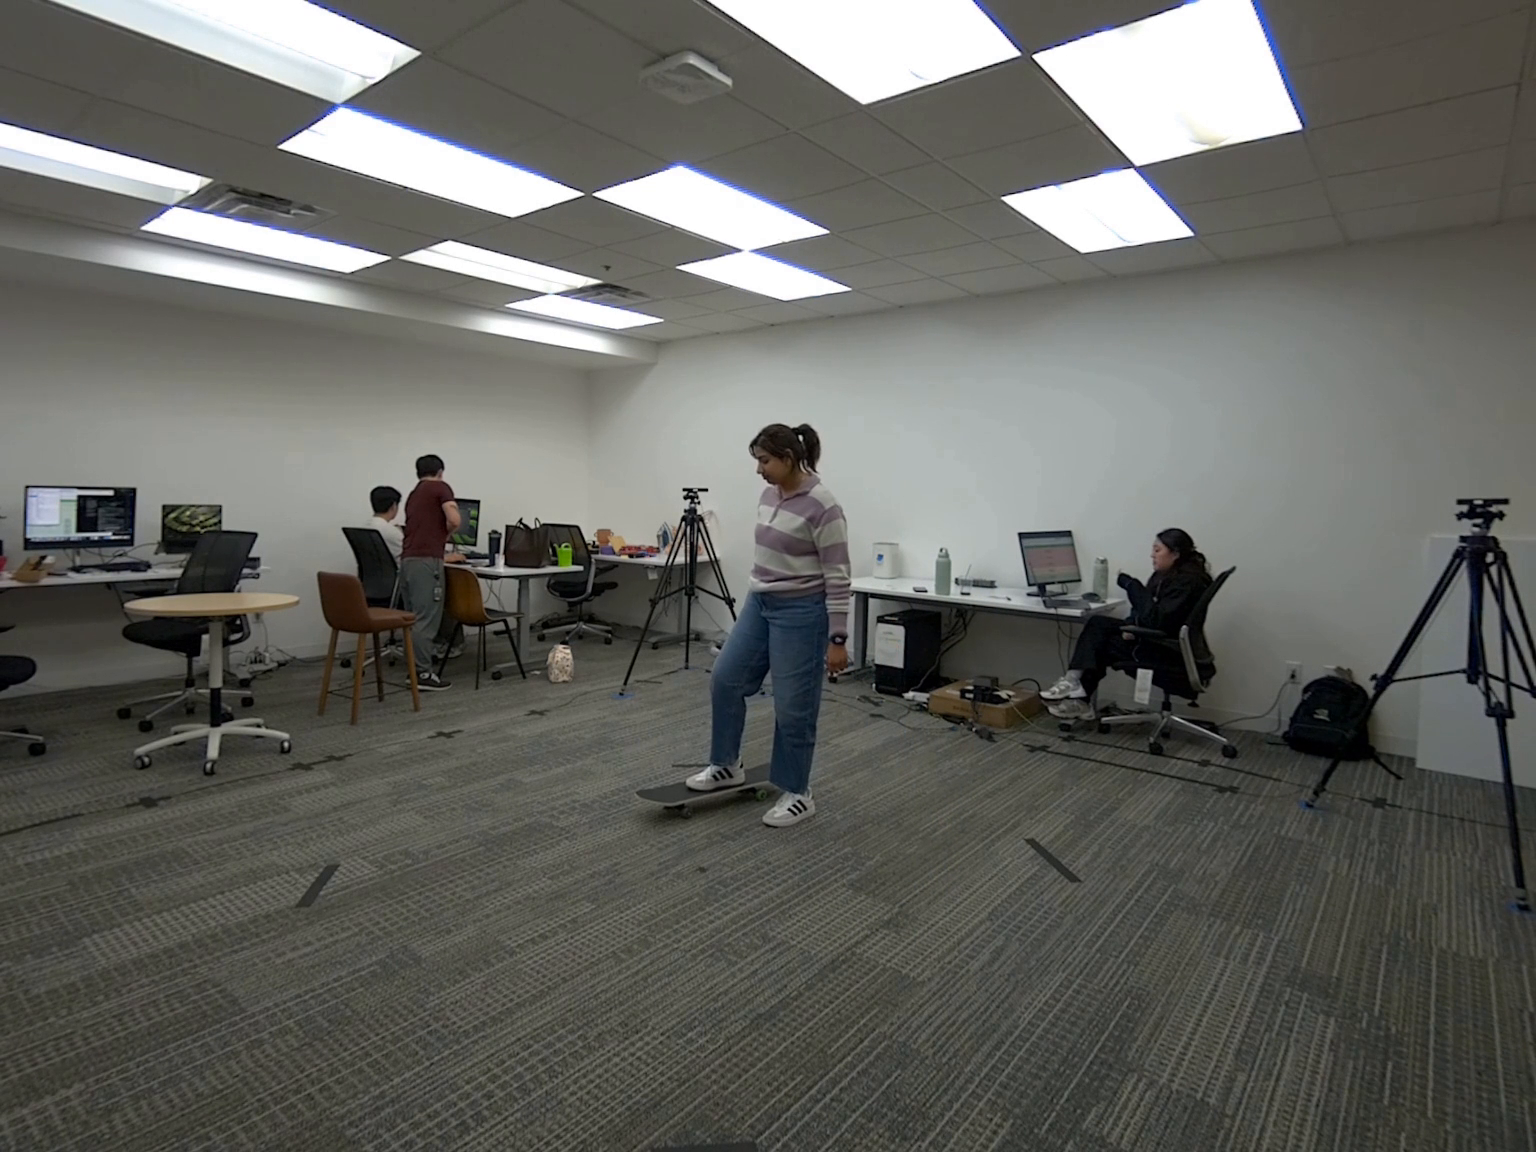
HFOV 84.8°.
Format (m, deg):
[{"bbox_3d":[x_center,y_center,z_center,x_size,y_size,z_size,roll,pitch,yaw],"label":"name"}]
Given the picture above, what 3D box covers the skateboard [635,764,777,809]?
[{"bbox_3d":[-0.241,0.948,3.764,0.763,0.110,0.200,-3,6,-35],"label":"skateboard"}]
